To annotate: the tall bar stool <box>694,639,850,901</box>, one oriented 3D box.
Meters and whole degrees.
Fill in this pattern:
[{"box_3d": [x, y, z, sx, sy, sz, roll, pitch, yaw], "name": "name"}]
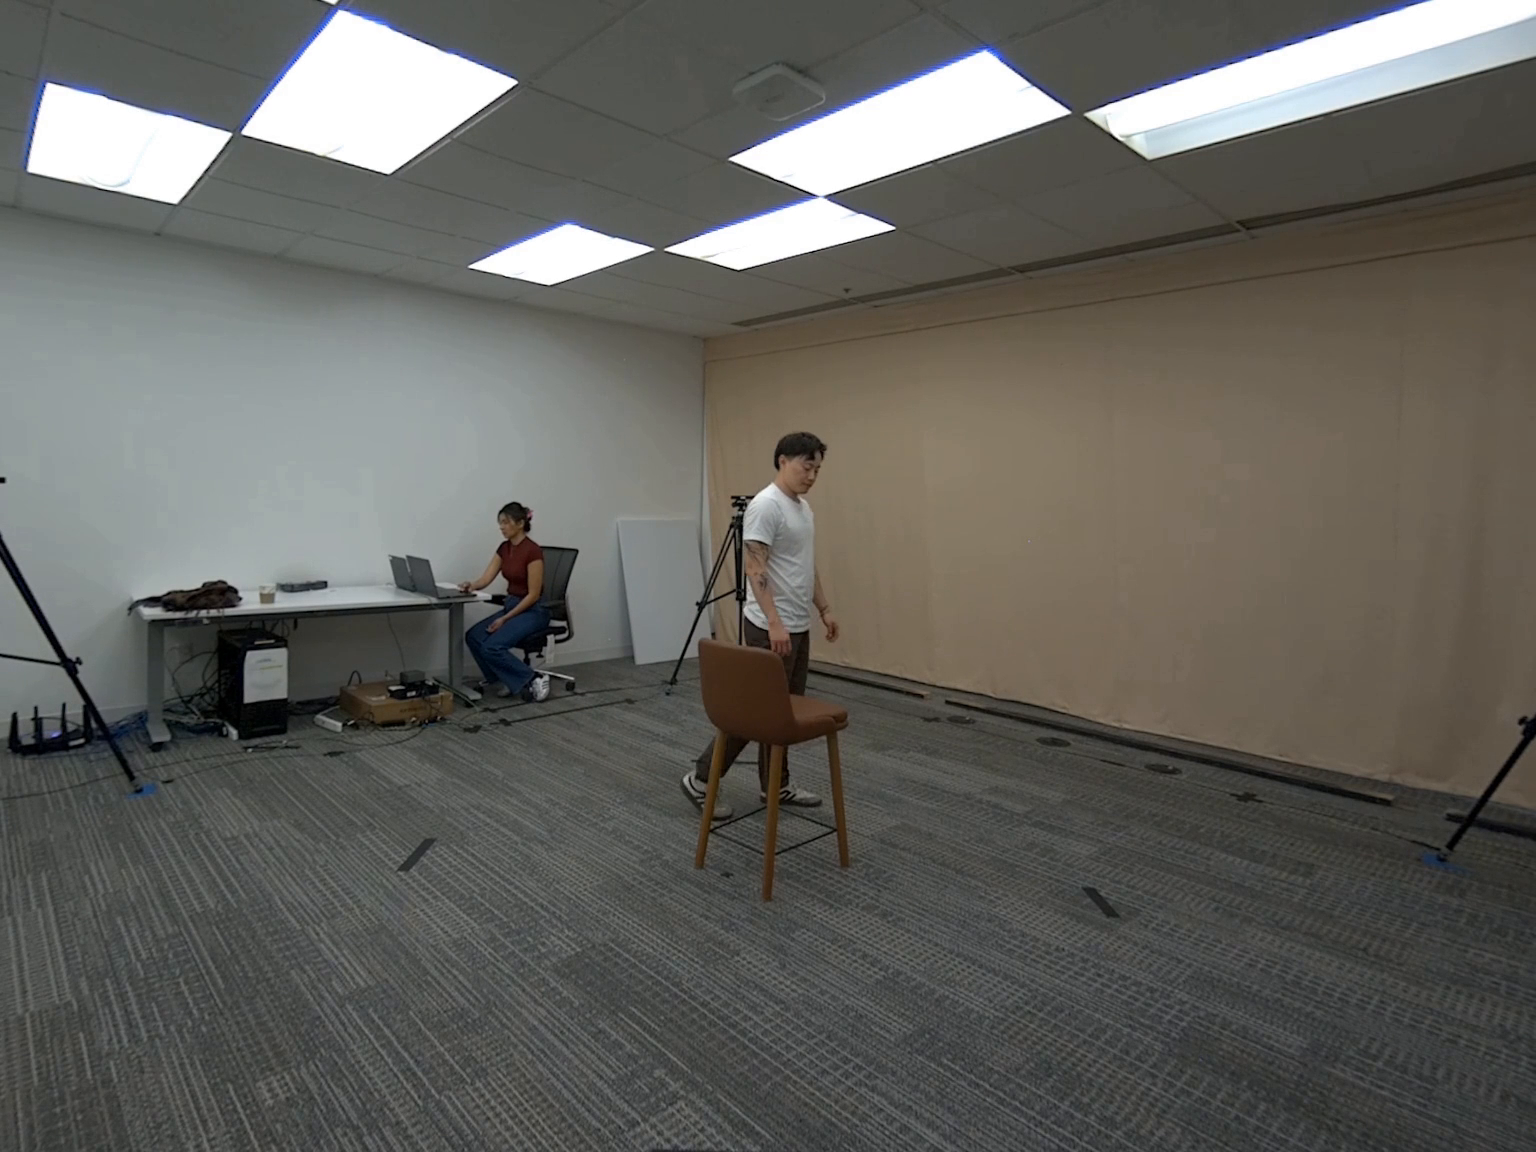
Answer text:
[{"box_3d": [0.012, 0.665, 3.159, 0.468, 0.887, 0.457, 4, 6, 44], "name": "tall bar stool"}]
